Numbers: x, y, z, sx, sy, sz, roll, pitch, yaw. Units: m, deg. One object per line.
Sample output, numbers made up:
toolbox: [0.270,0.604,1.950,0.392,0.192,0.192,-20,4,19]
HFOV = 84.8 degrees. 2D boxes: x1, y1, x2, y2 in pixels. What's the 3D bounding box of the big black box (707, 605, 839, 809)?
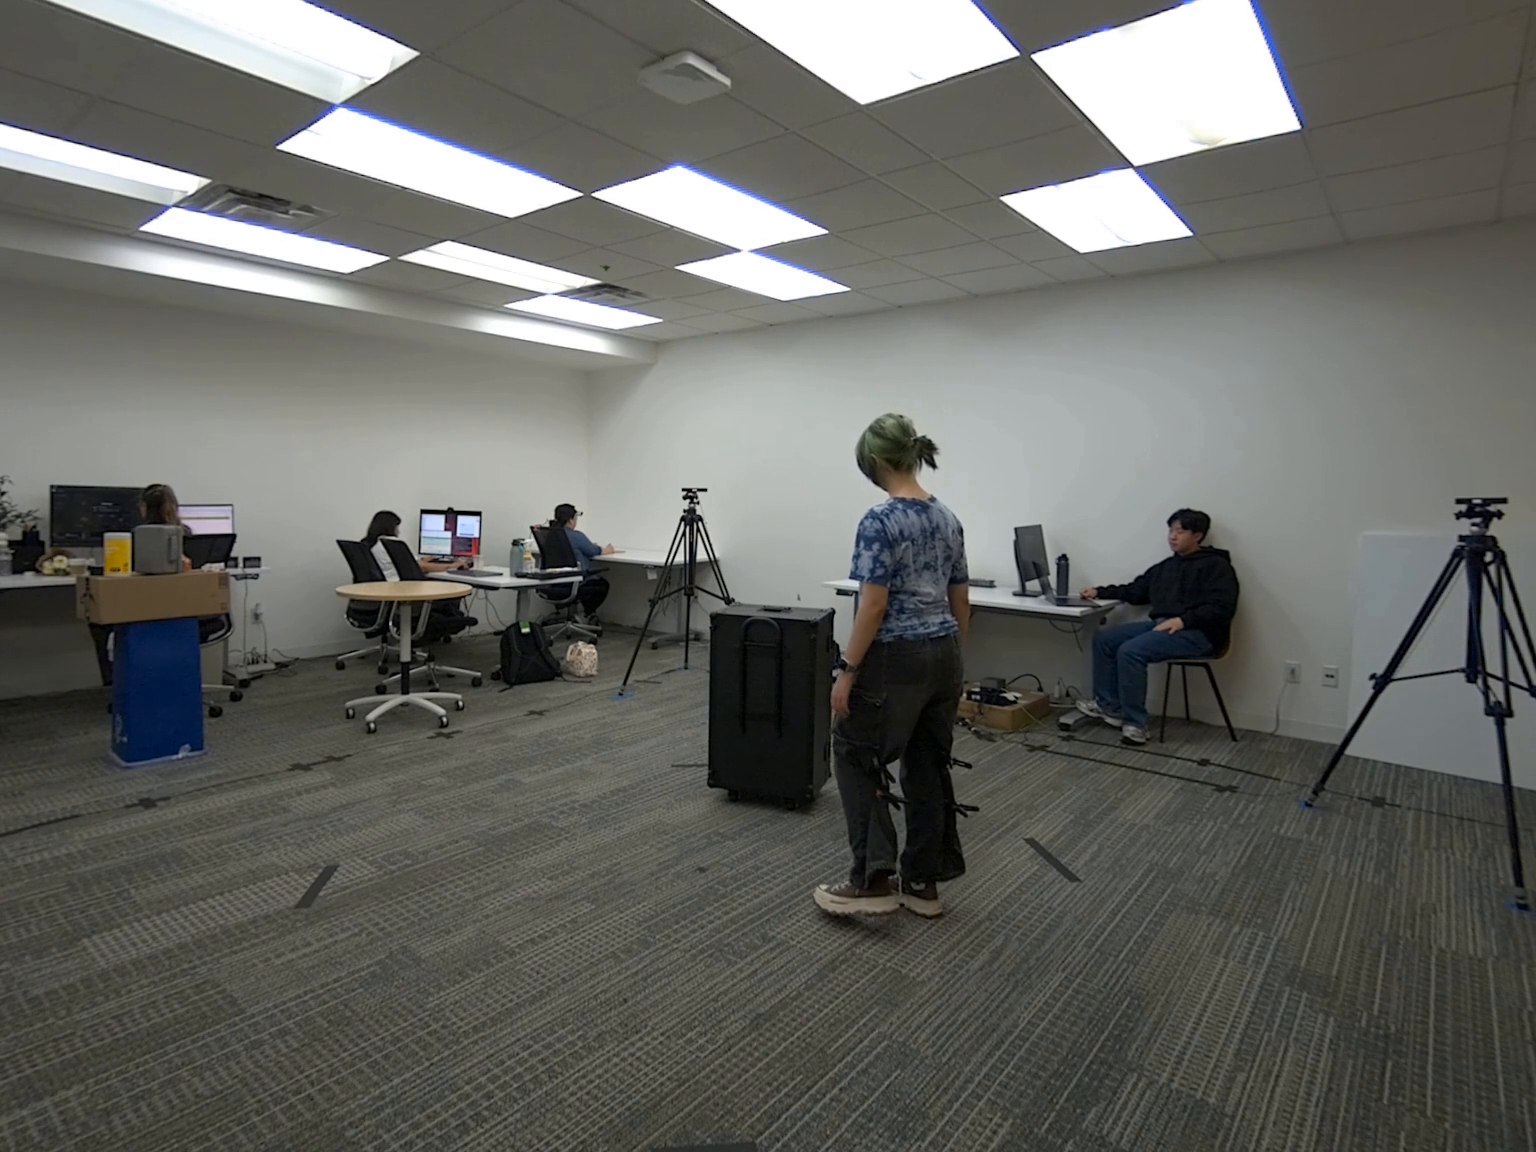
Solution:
big black box: [0.011,0.579,3.829,0.532,0.859,0.389,3,4,19]
